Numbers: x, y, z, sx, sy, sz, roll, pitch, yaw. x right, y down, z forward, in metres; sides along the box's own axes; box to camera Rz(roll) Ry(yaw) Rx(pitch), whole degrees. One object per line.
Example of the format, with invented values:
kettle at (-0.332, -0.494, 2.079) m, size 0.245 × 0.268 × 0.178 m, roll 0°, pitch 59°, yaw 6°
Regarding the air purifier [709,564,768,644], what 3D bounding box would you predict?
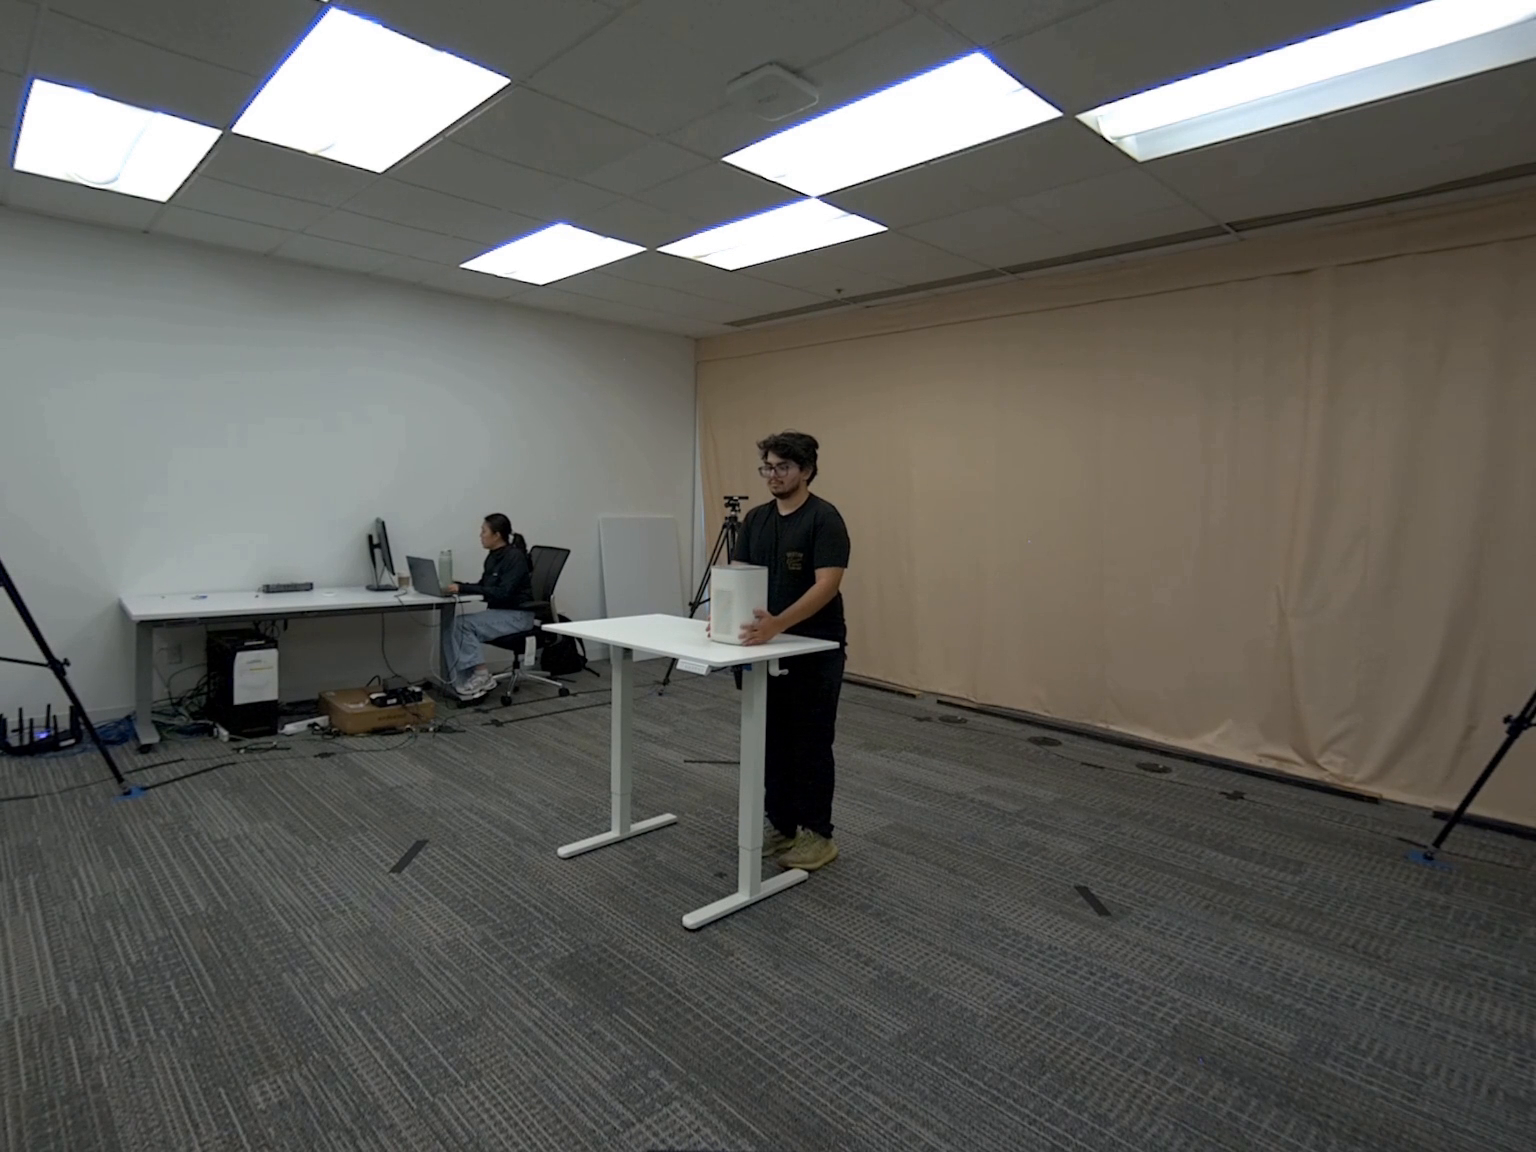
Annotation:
air purifier at (-0.107, 0.098, 2.953) m, size 0.176 × 0.265 × 0.167 m, roll 4°, pitch 4°, yaw 42°
